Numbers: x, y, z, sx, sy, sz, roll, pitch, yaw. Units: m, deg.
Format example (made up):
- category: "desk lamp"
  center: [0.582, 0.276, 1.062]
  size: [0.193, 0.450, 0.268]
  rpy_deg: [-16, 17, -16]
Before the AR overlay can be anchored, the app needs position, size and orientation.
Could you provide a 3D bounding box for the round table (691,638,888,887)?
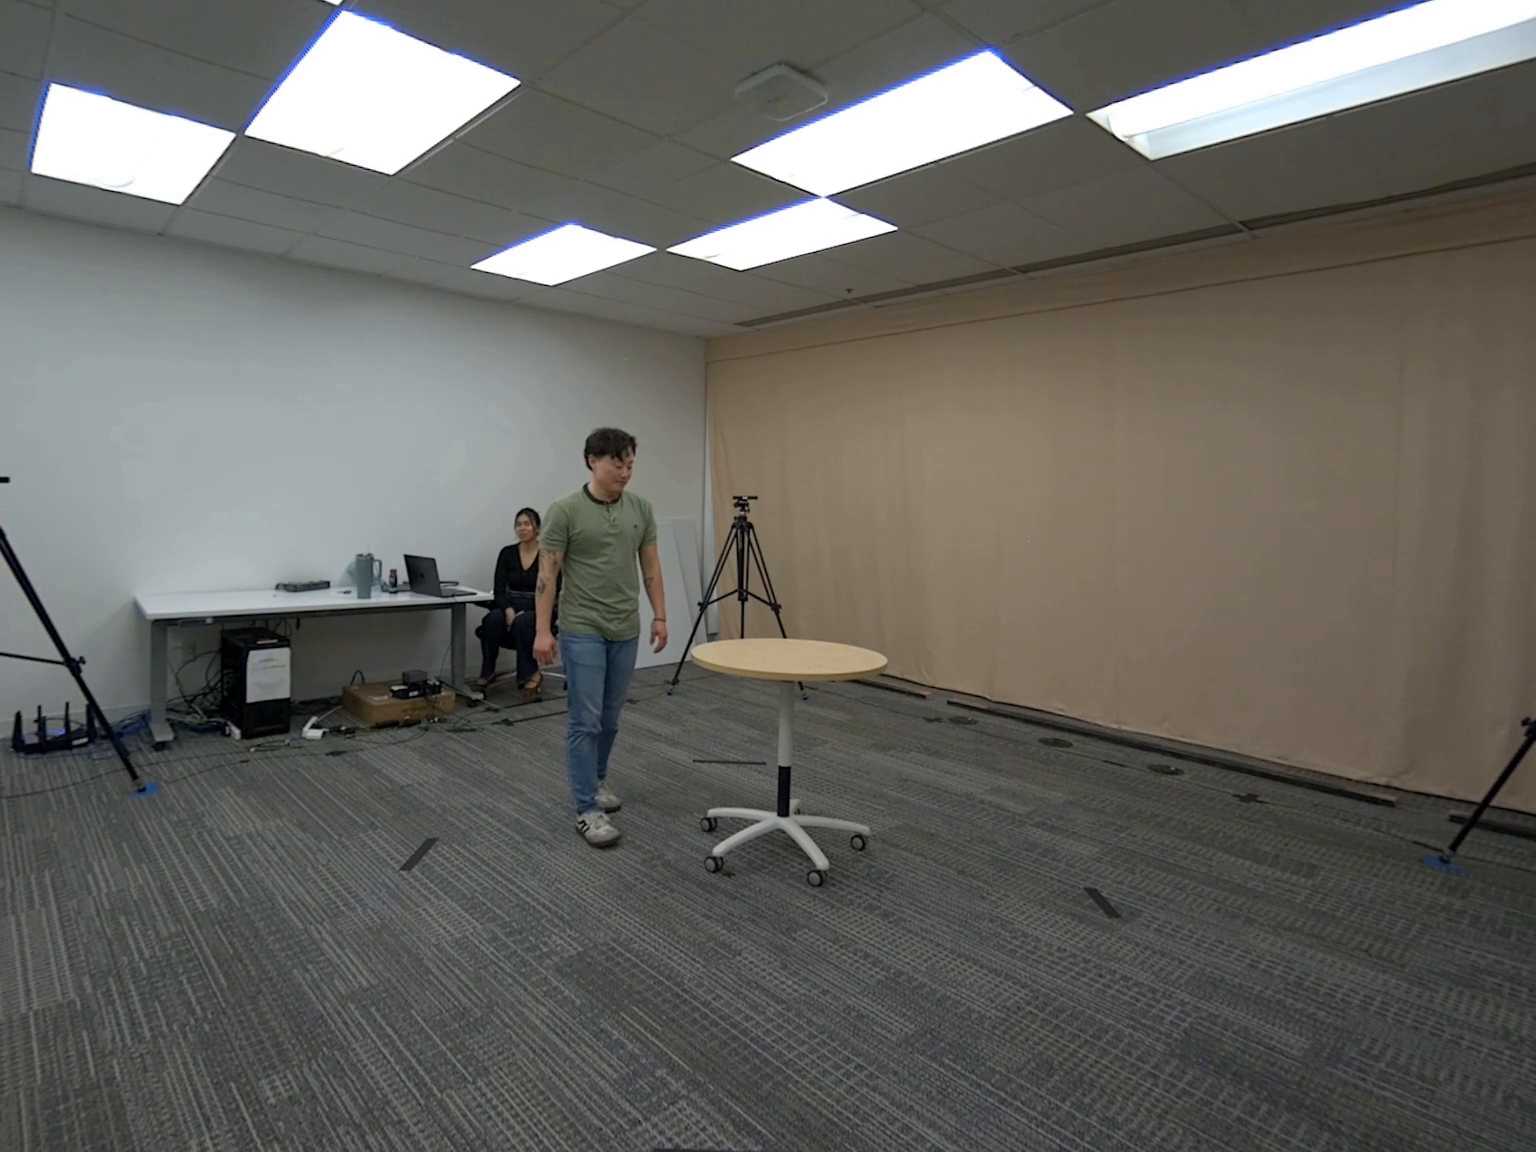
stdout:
- category: "round table"
  center: [0.053, 0.700, 3.313]
  size: [0.763, 0.792, 0.766]
  rpy_deg: [2, 4, -1]
